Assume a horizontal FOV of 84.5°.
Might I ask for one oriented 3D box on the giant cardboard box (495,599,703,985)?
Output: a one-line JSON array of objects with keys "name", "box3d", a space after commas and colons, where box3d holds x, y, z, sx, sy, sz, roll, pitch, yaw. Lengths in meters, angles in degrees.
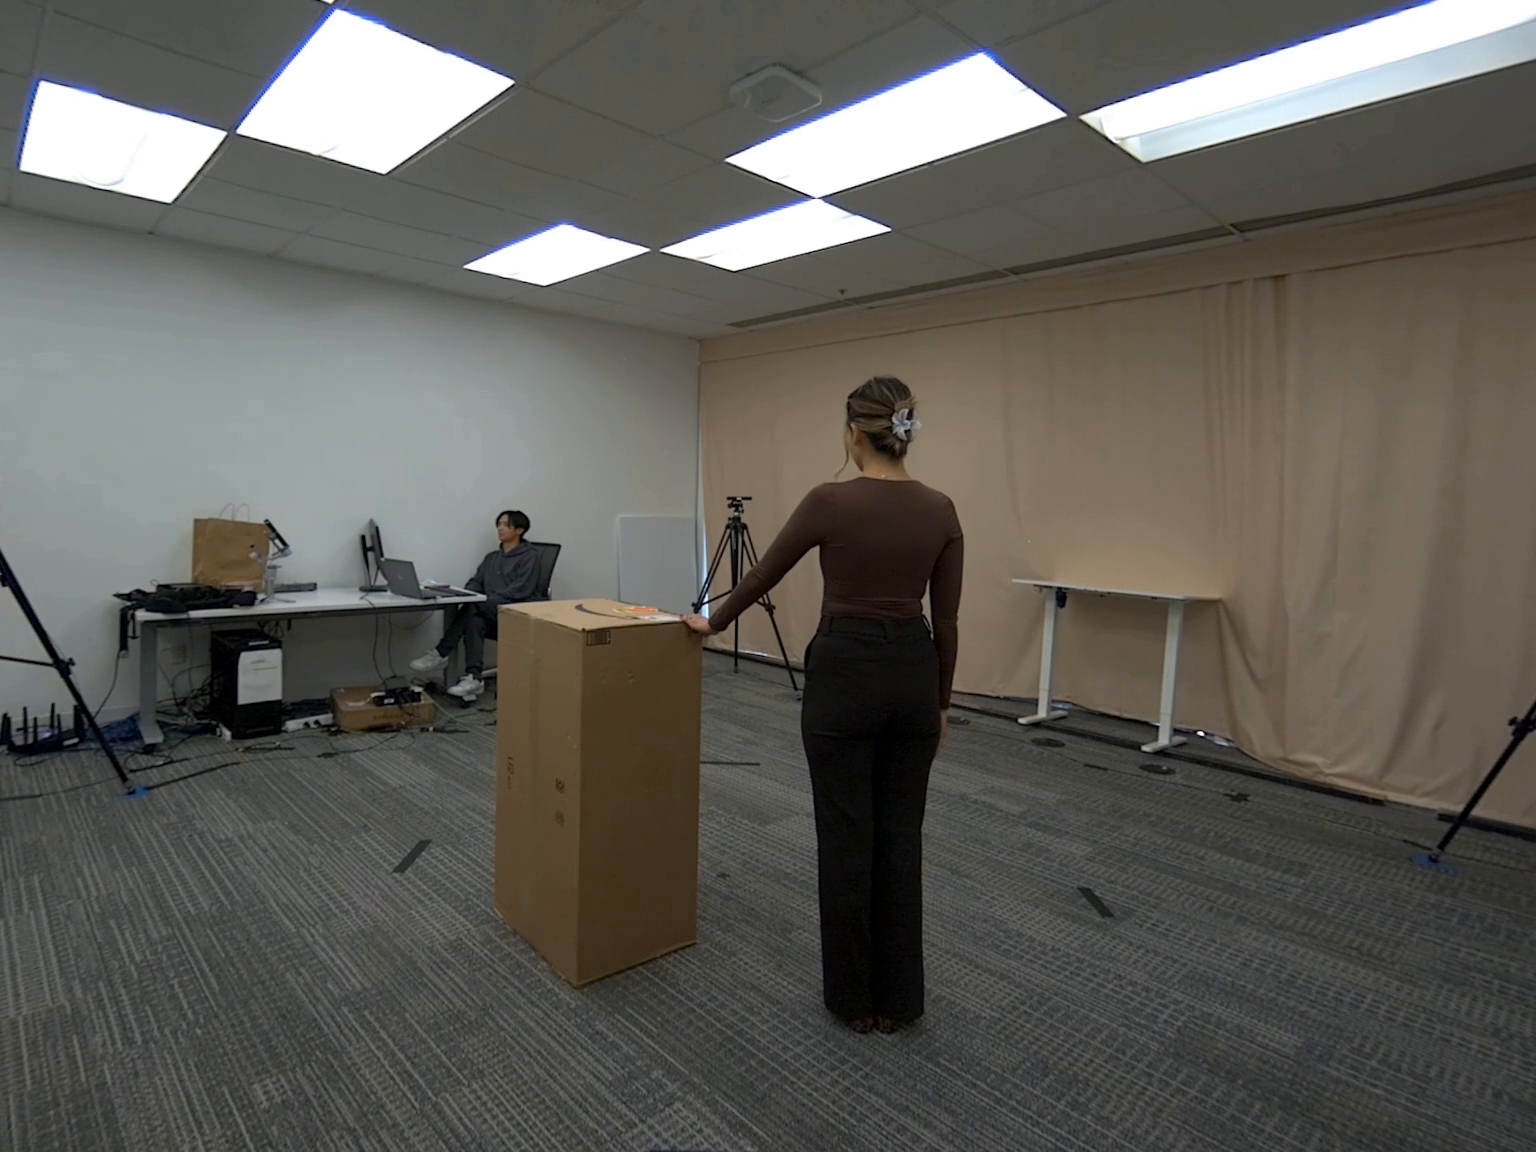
[{"name": "giant cardboard box", "box3d": [-0.561, 0.625, 2.696, 0.436, 1.025, 0.598, 0, 3, -38]}]
